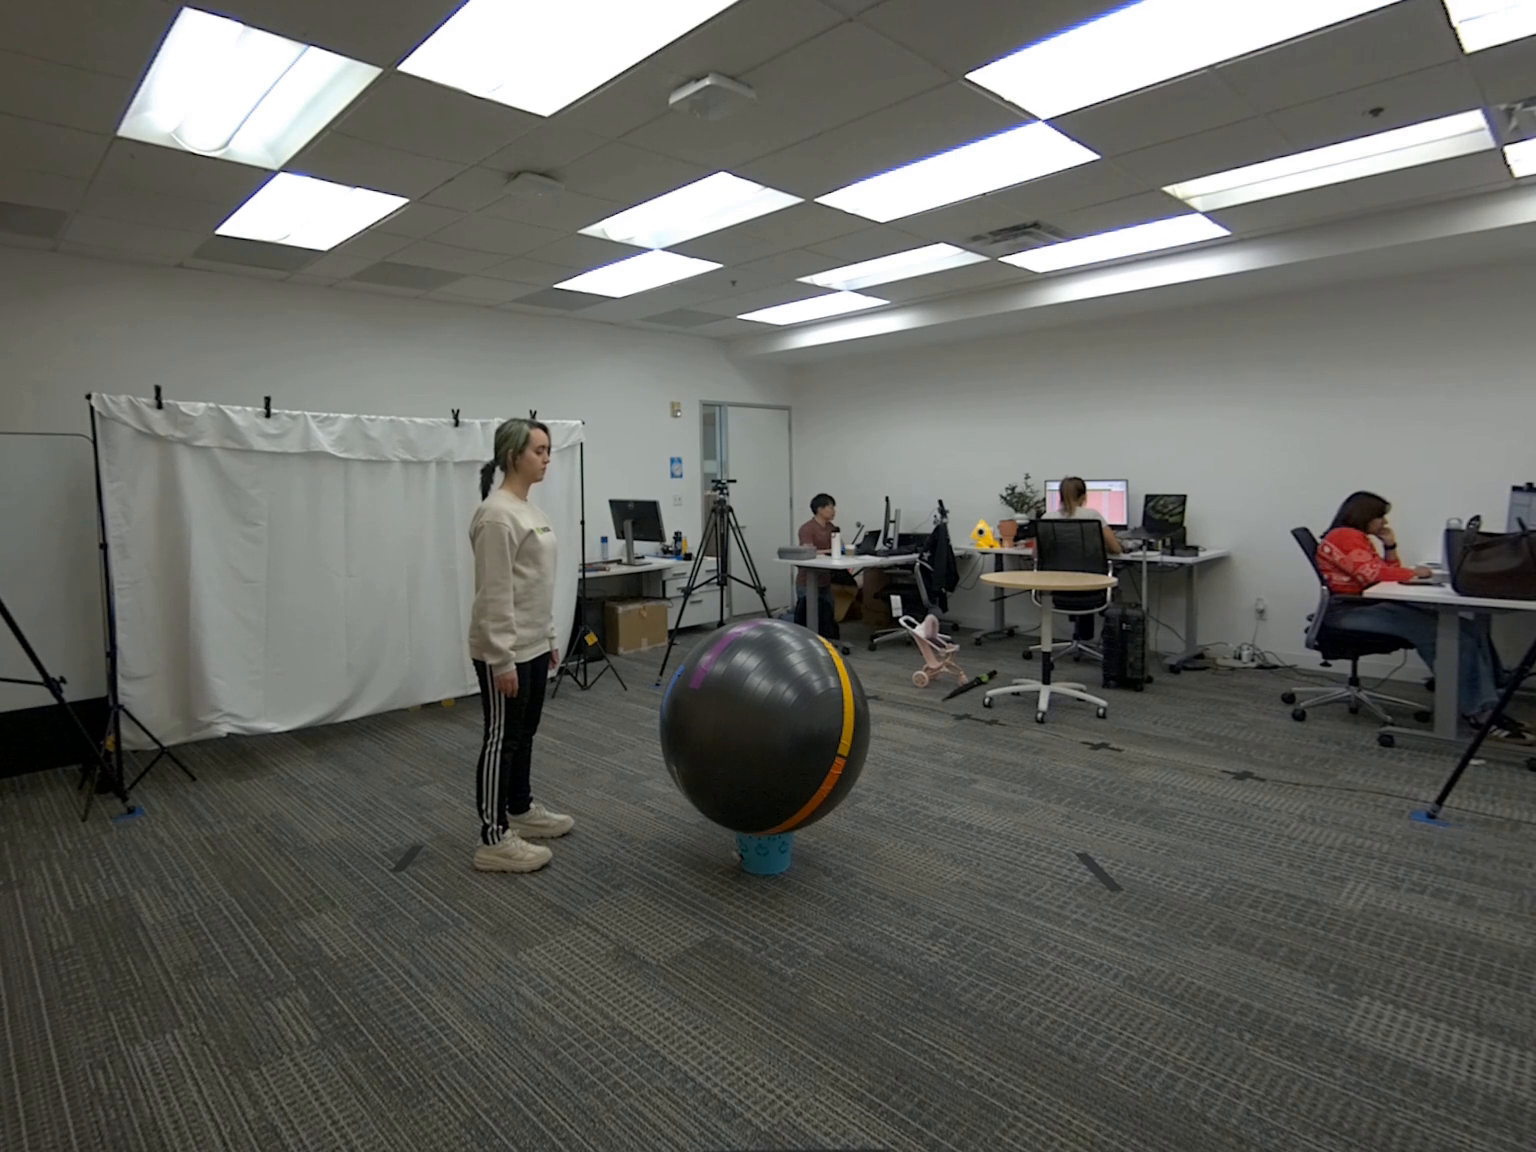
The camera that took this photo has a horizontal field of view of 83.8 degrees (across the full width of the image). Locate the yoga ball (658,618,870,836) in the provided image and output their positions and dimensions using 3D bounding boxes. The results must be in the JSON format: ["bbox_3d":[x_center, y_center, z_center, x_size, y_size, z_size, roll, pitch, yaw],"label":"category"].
[{"bbox_3d":[-0.014,0.532,3.082,0.757,0.755,0.762,-1,5,-2],"label":"yoga ball"}]
